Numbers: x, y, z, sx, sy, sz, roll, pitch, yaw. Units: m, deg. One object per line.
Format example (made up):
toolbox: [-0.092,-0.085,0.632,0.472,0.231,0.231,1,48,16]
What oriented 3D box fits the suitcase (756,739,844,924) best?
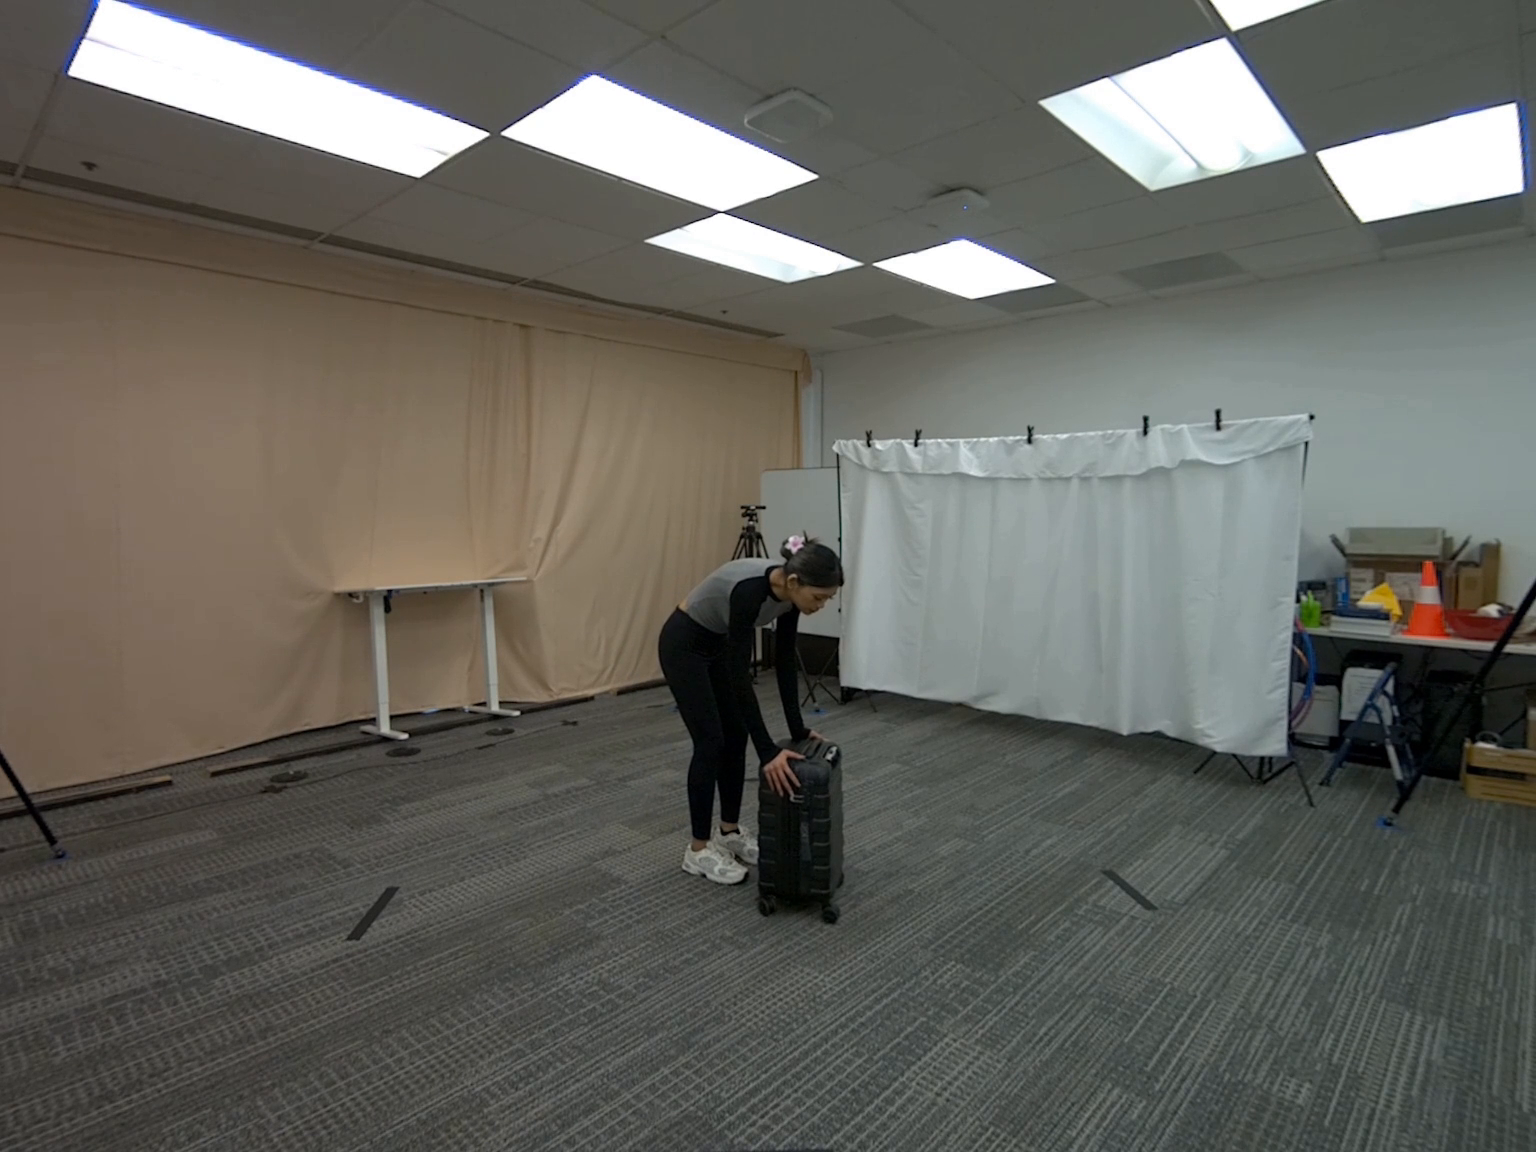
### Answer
suitcase: [0.128,0.869,2.977,0.252,0.548,0.370,0,3,15]
